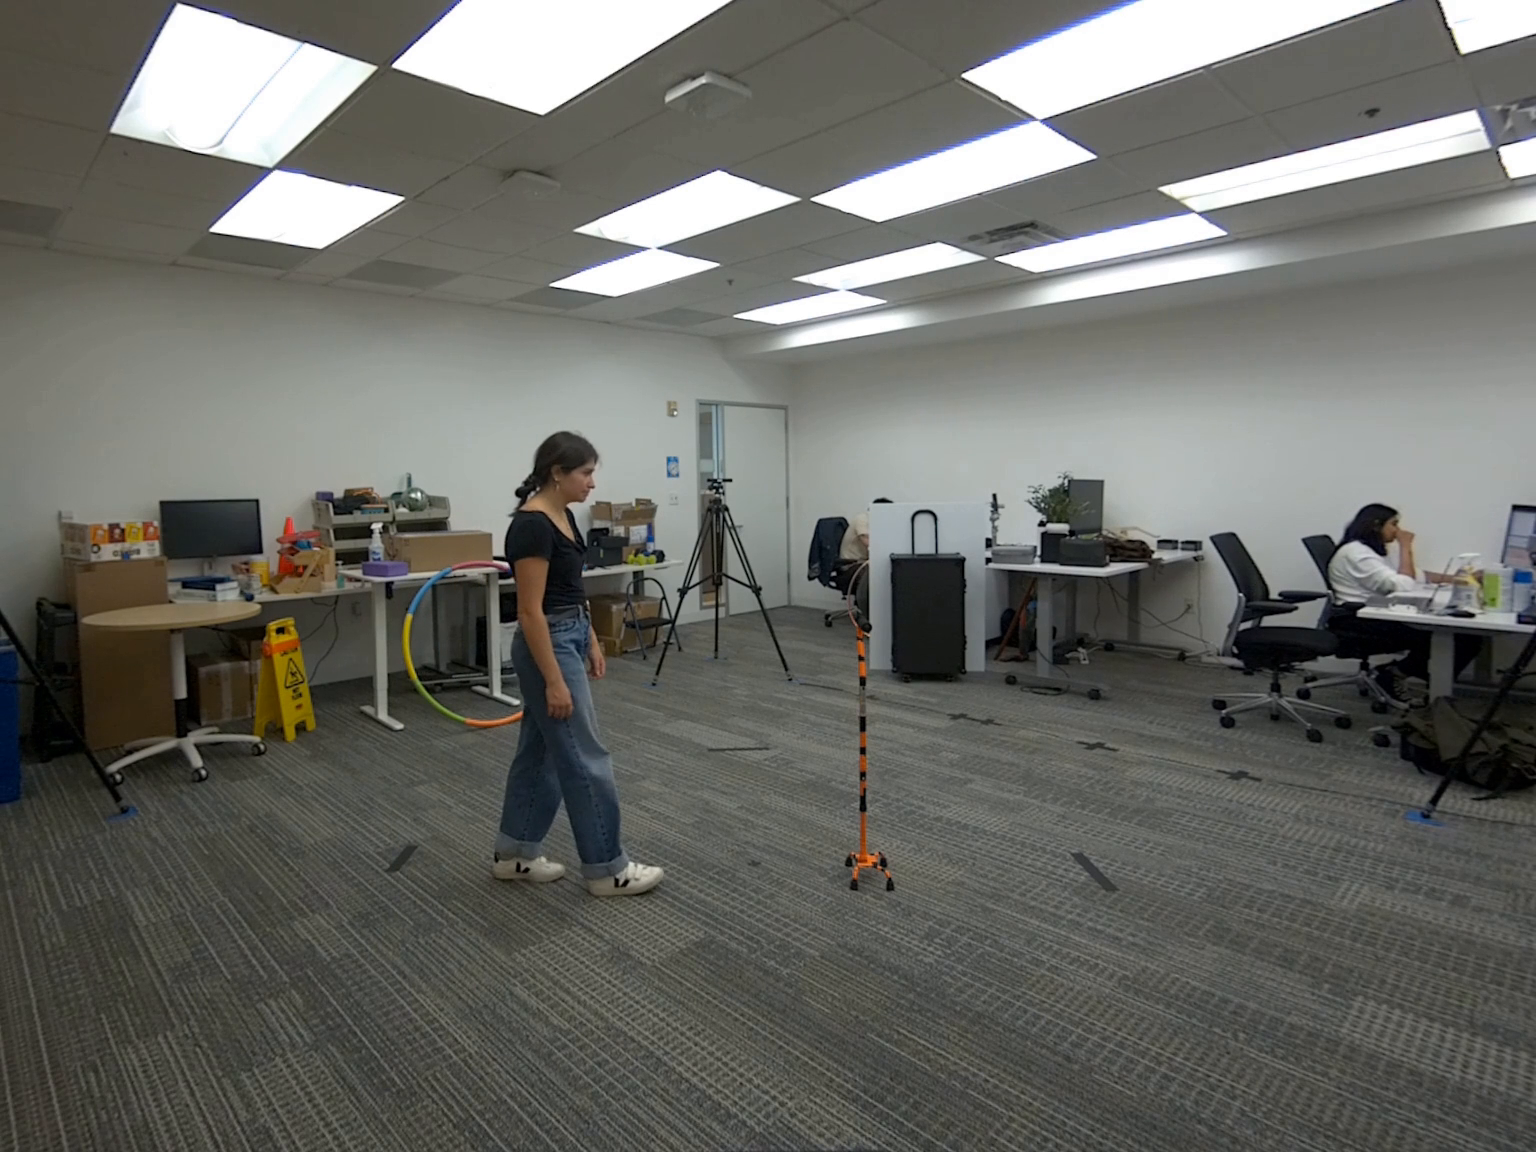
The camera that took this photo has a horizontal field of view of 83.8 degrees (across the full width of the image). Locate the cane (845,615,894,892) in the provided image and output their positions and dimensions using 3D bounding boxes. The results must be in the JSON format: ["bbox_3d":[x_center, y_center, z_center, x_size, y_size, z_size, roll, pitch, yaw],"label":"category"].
[{"bbox_3d":[0.346,0.596,2.951,0.152,0.905,0.207,-1,4,1],"label":"cane"}]
